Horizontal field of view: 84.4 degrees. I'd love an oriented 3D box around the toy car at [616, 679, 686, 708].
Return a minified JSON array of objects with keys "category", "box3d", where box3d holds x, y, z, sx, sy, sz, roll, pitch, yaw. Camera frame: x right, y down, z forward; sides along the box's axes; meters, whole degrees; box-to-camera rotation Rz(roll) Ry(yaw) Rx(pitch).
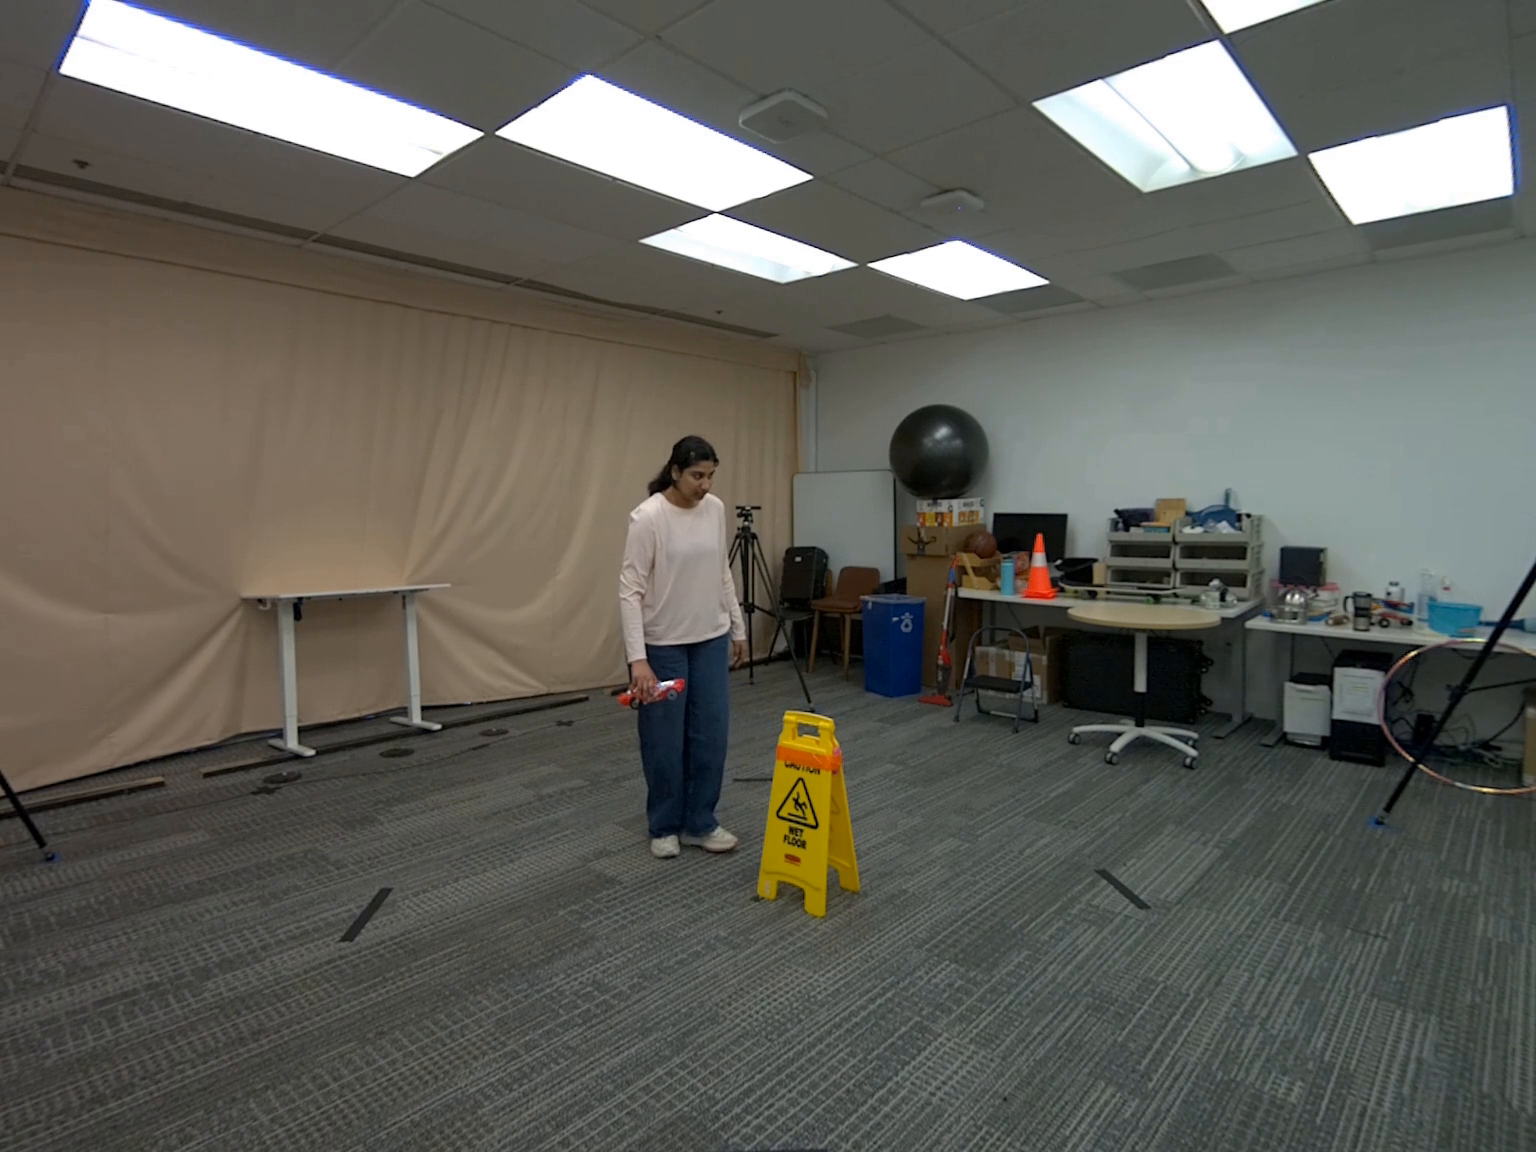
[{"category":"toy car","box3d":[-0.447,0.440,3.152,0.257,0.083,0.130,-5,8,9]}]
